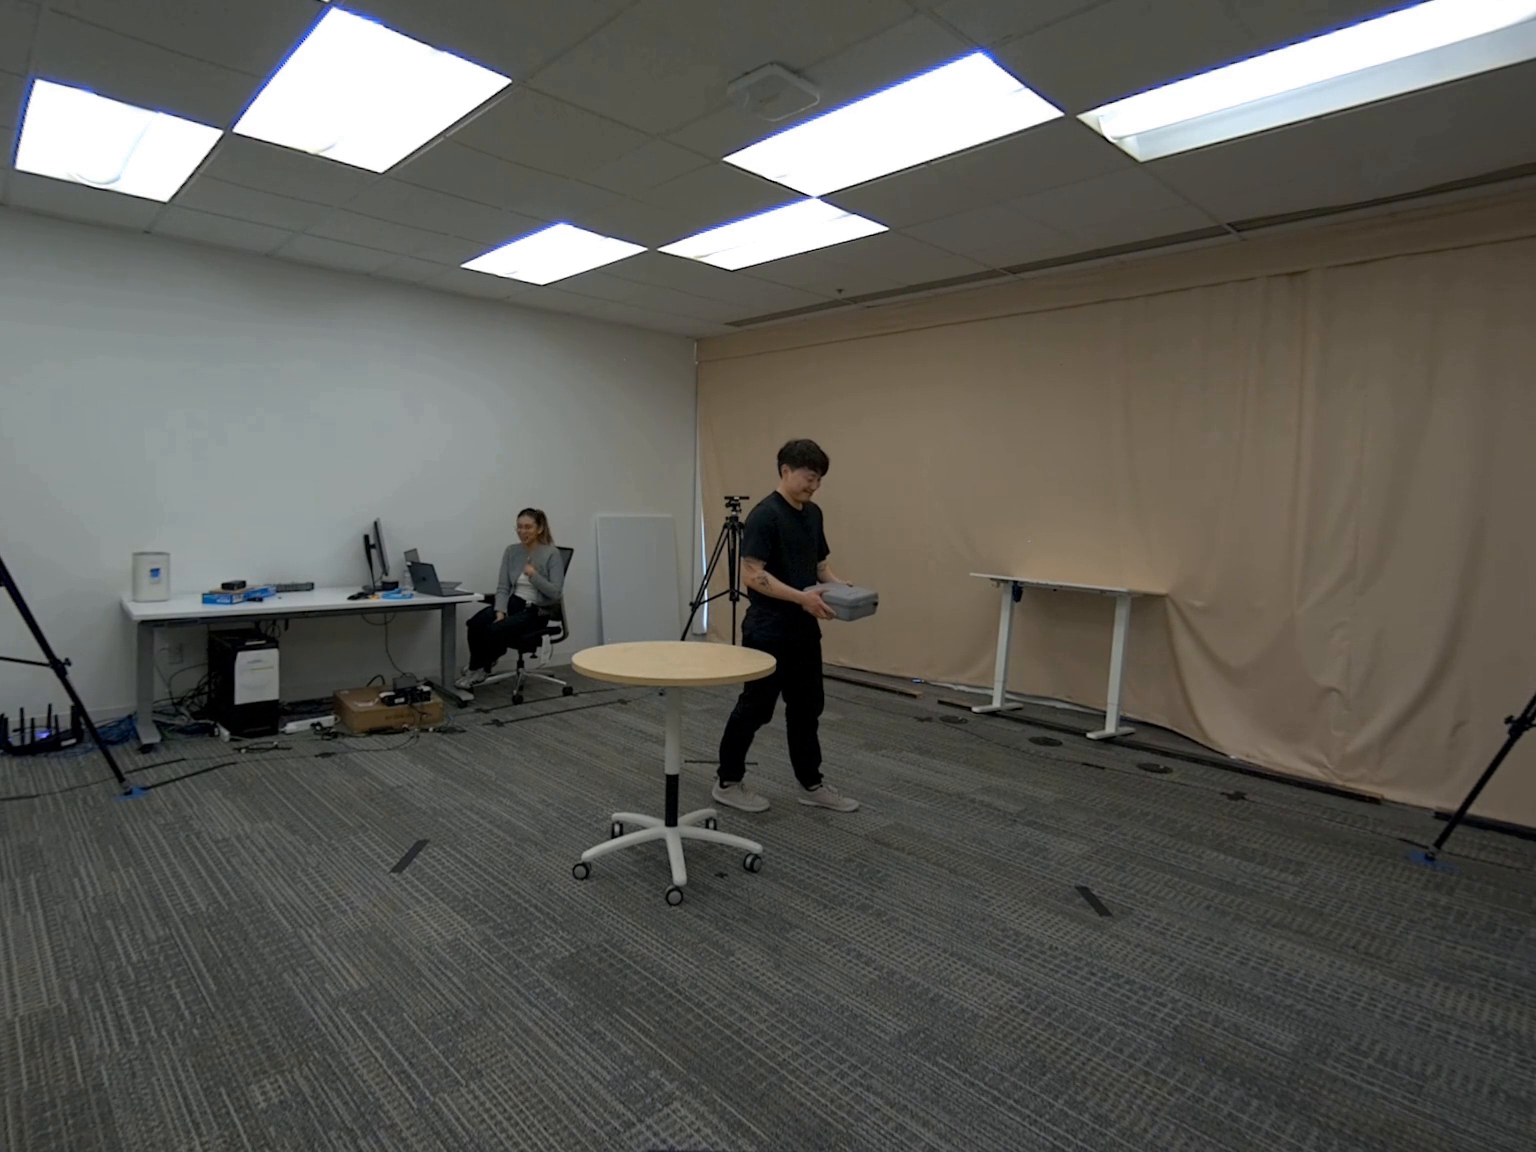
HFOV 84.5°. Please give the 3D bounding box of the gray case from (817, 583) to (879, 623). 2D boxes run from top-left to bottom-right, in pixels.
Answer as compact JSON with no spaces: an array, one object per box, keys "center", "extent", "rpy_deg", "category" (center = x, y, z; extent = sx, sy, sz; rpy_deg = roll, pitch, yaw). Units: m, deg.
[{"center":[0.301,0.105,3.600],"extent":[0.267,0.104,0.252],"rpy_deg":[11,11,34],"category":"gray case"}]
